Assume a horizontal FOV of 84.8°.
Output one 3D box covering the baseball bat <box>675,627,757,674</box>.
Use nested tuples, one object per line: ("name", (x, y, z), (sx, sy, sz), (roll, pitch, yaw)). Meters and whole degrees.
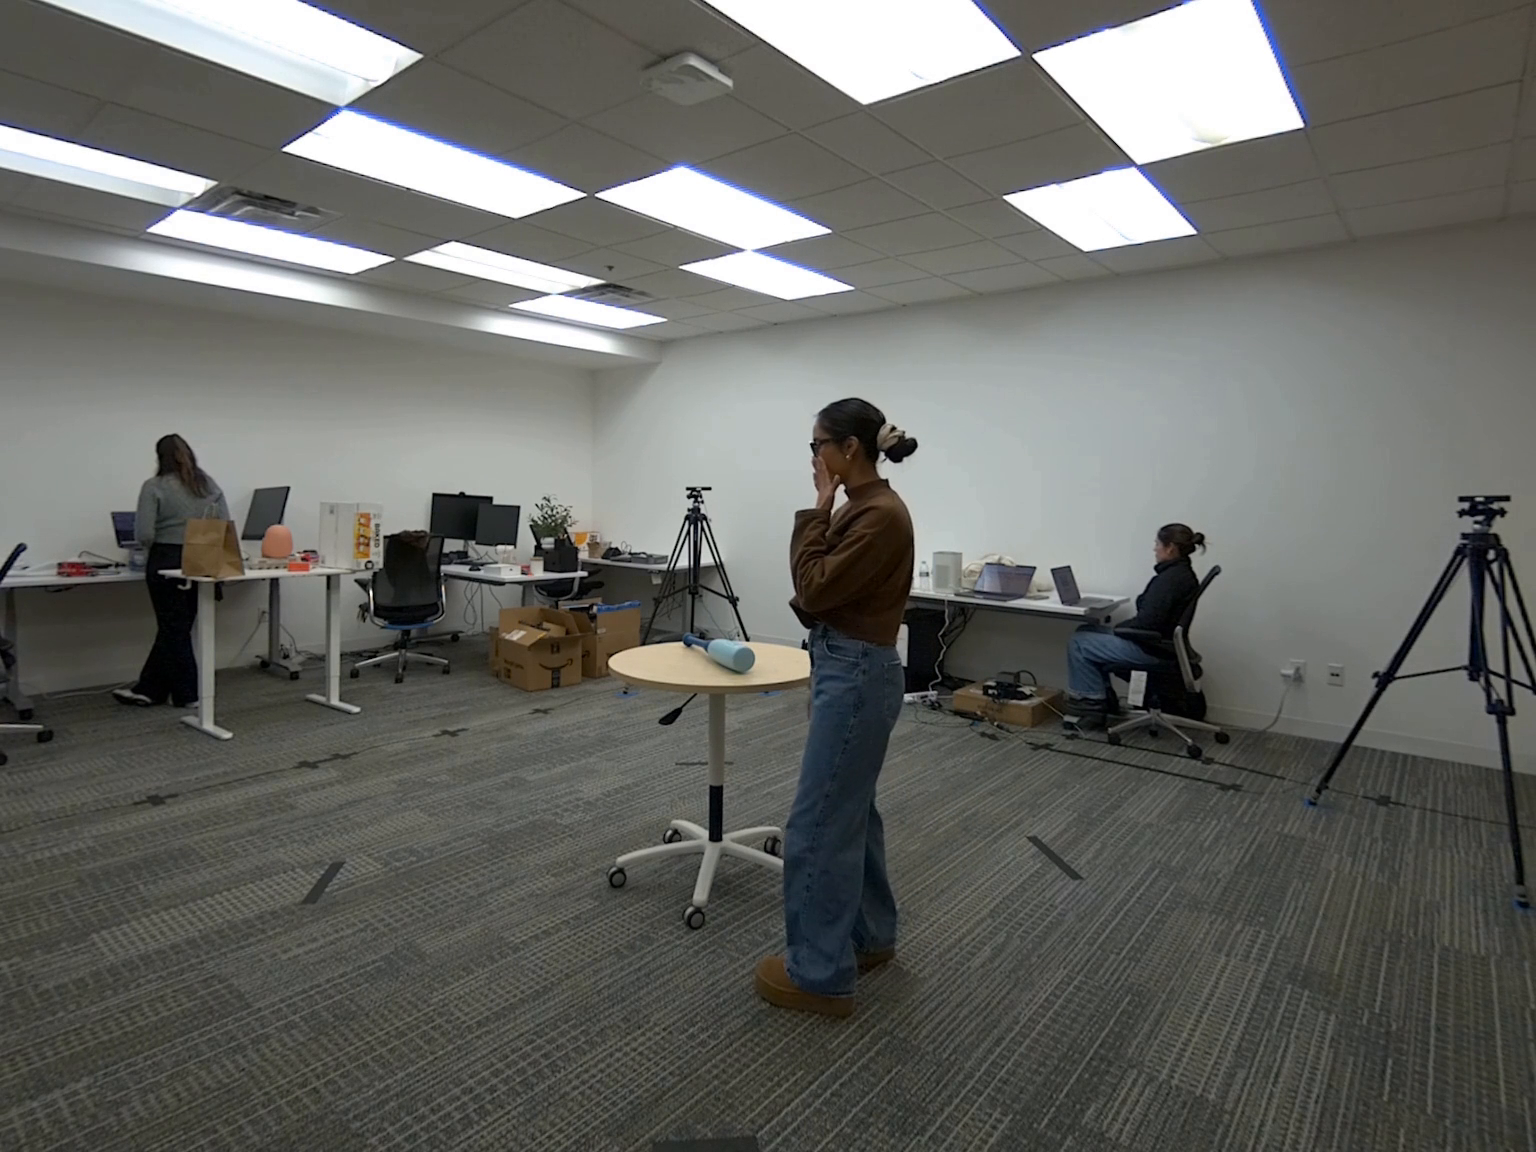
("baseball bat", (-0.200, 0.258, 3.005), (0.087, 0.089, 0.556), (-1, 3, -25))
